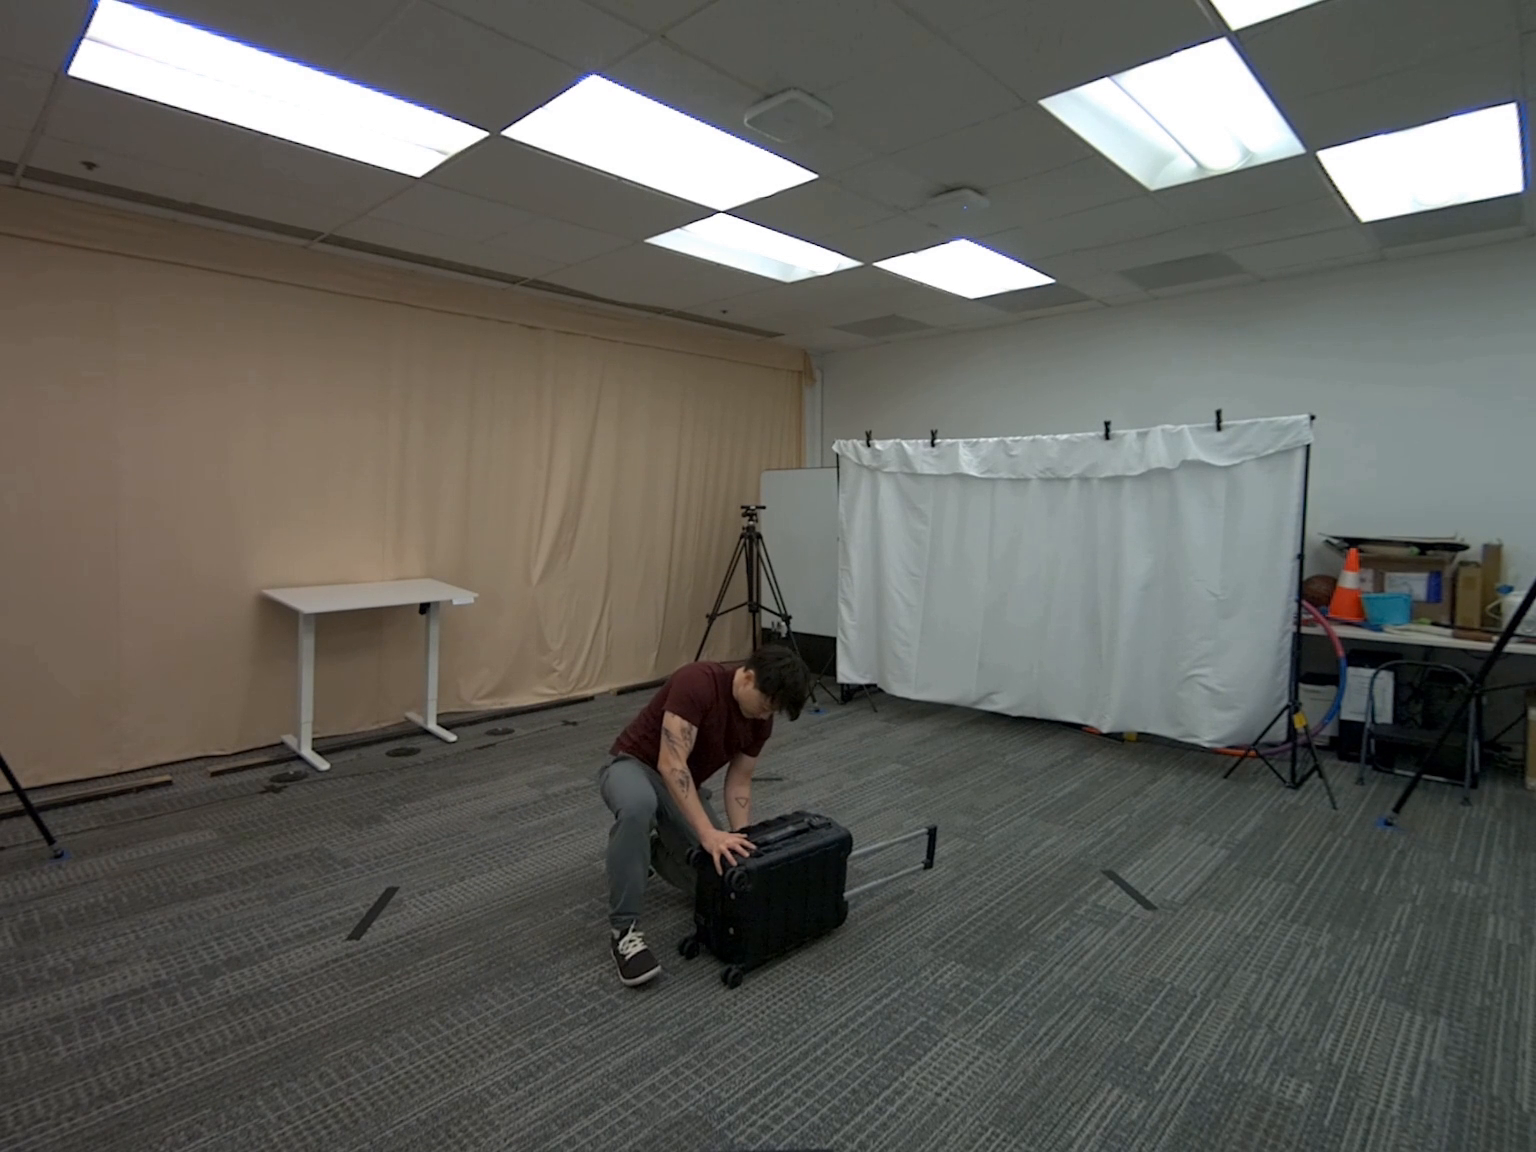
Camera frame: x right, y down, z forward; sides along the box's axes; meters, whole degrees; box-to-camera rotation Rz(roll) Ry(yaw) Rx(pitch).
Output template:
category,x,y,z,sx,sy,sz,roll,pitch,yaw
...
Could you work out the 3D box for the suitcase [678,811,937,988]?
category,x,y,z,sx,sy,sz,roll,pitch,yaw
suitcase,0.173,0.975,2.799,0.948,0.383,0.266,-3,7,-42
